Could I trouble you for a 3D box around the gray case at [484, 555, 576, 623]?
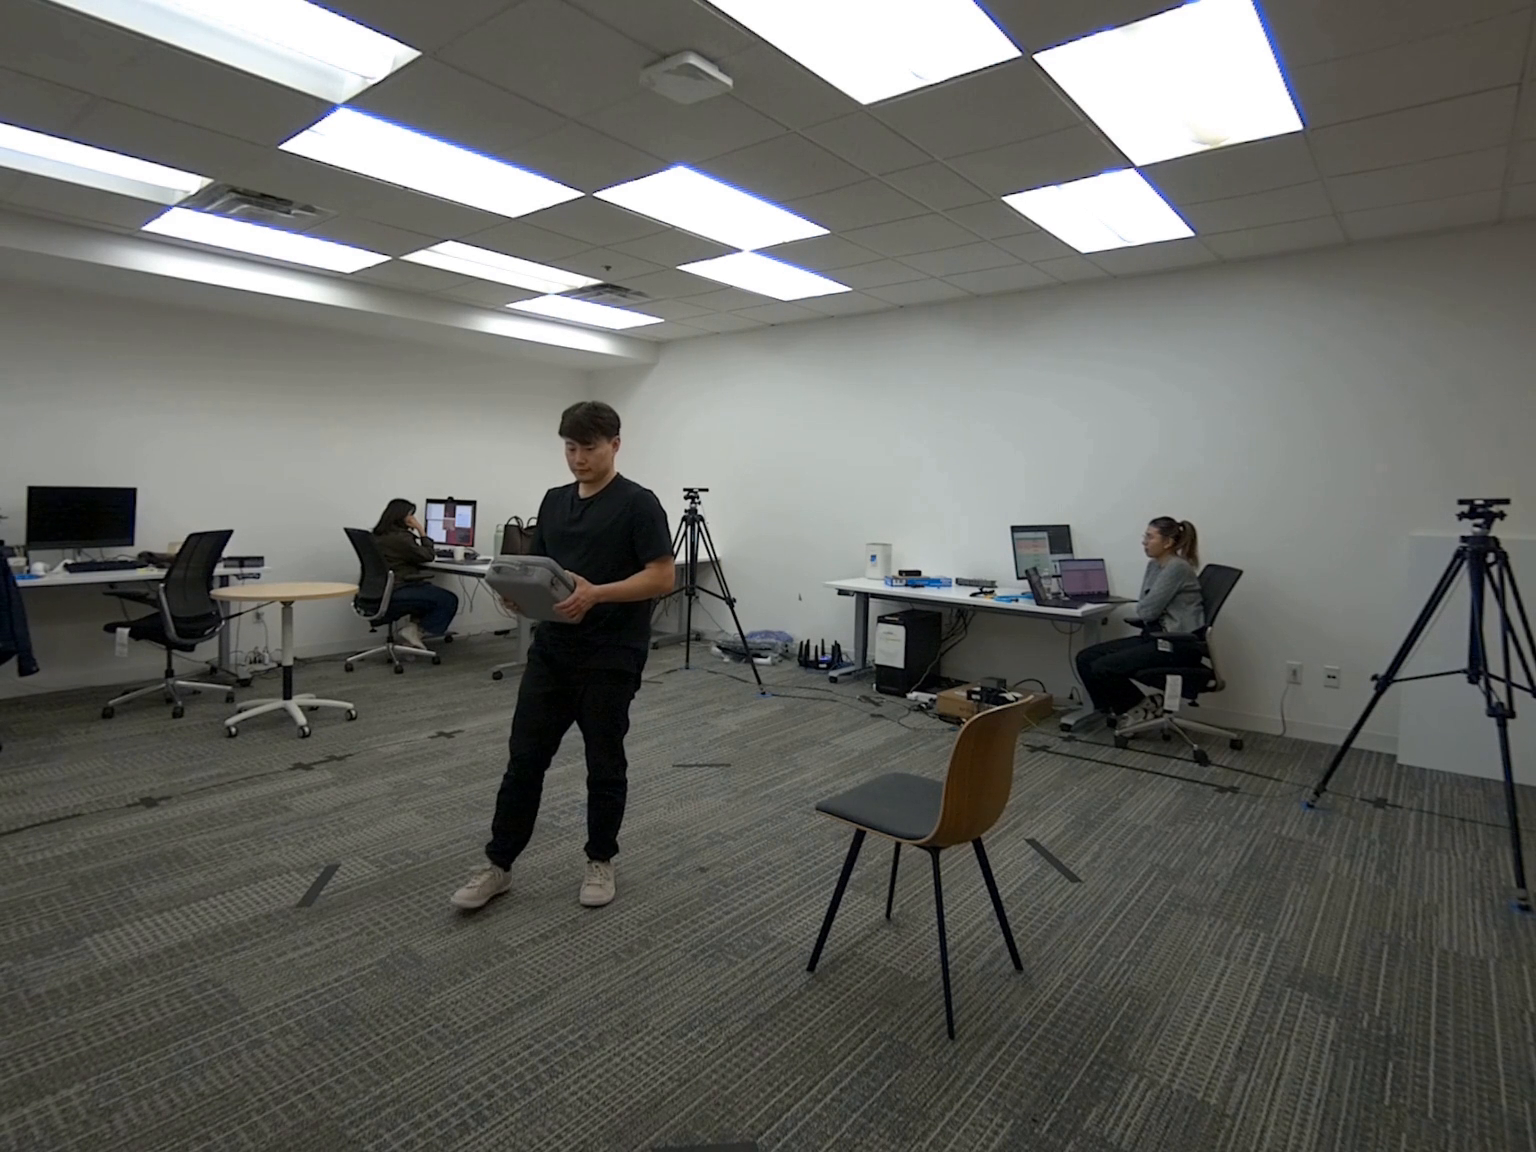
[{"bbox_3d":[-0.743,0.030,2.662,0.264,0.106,0.250,3,-28,31],"label":"gray case"}]
